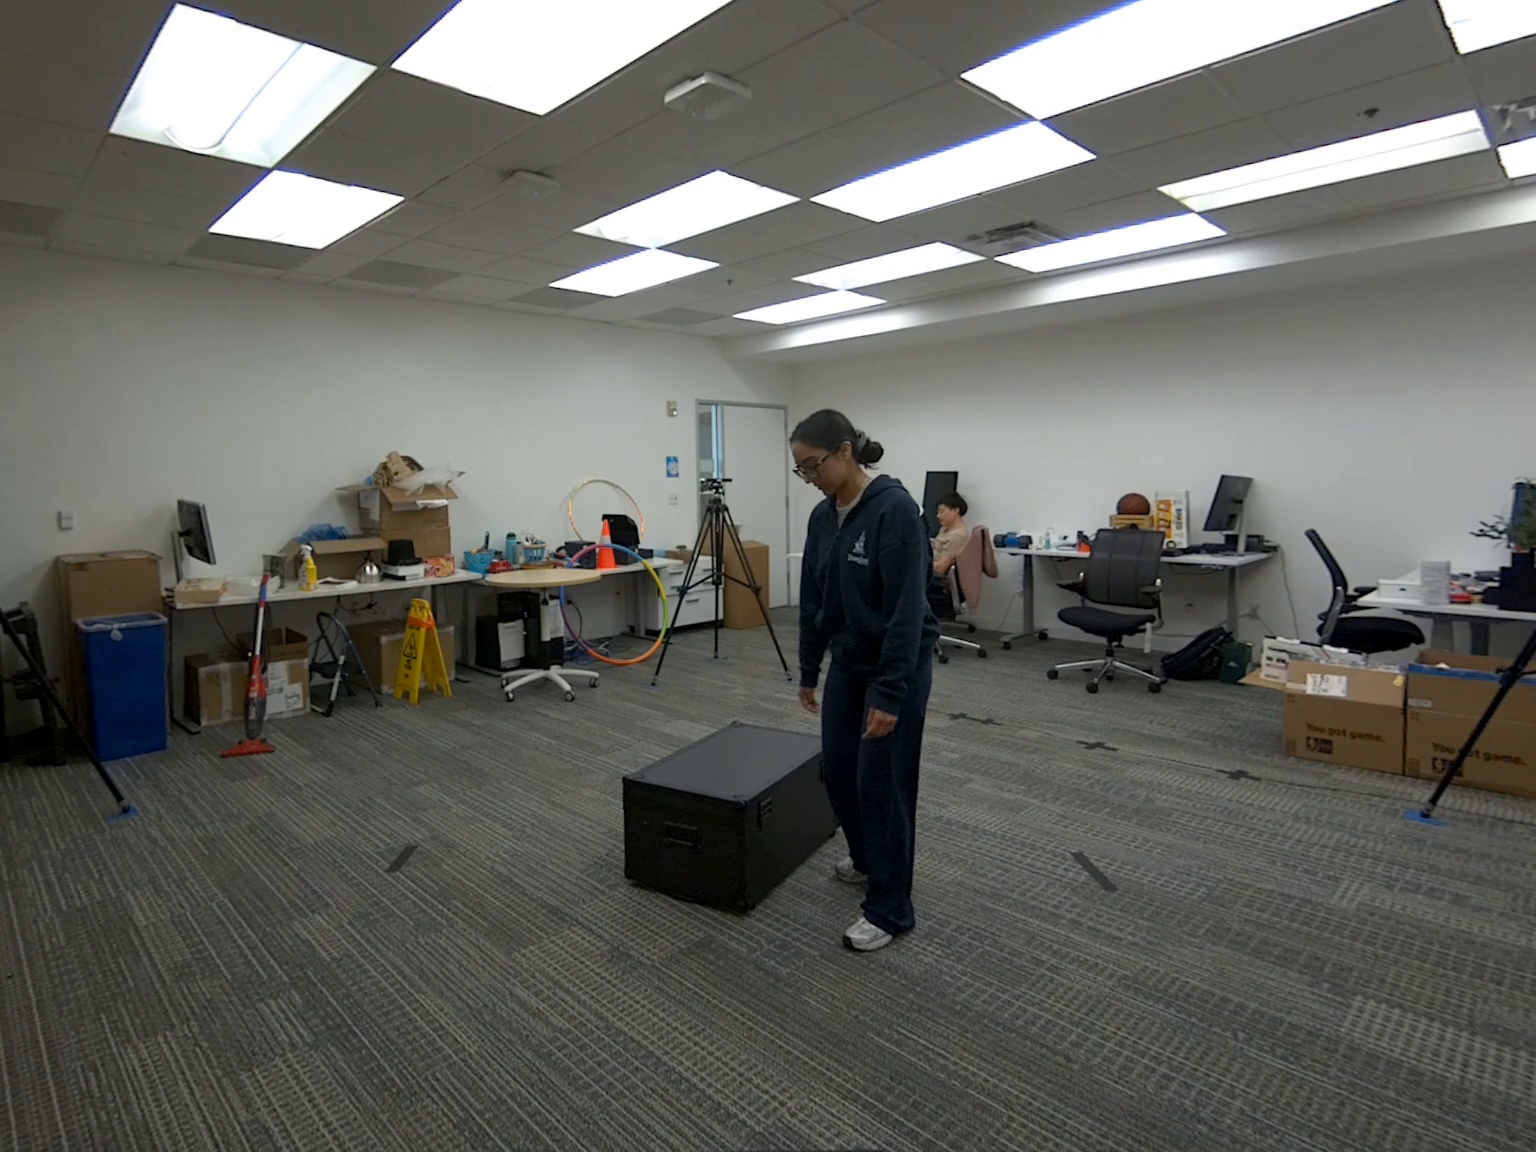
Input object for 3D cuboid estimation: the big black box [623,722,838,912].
[{"bbox_3d":[-0.087,0.846,3.184,0.534,0.394,0.844,2,7,28],"label":"big black box"}]
